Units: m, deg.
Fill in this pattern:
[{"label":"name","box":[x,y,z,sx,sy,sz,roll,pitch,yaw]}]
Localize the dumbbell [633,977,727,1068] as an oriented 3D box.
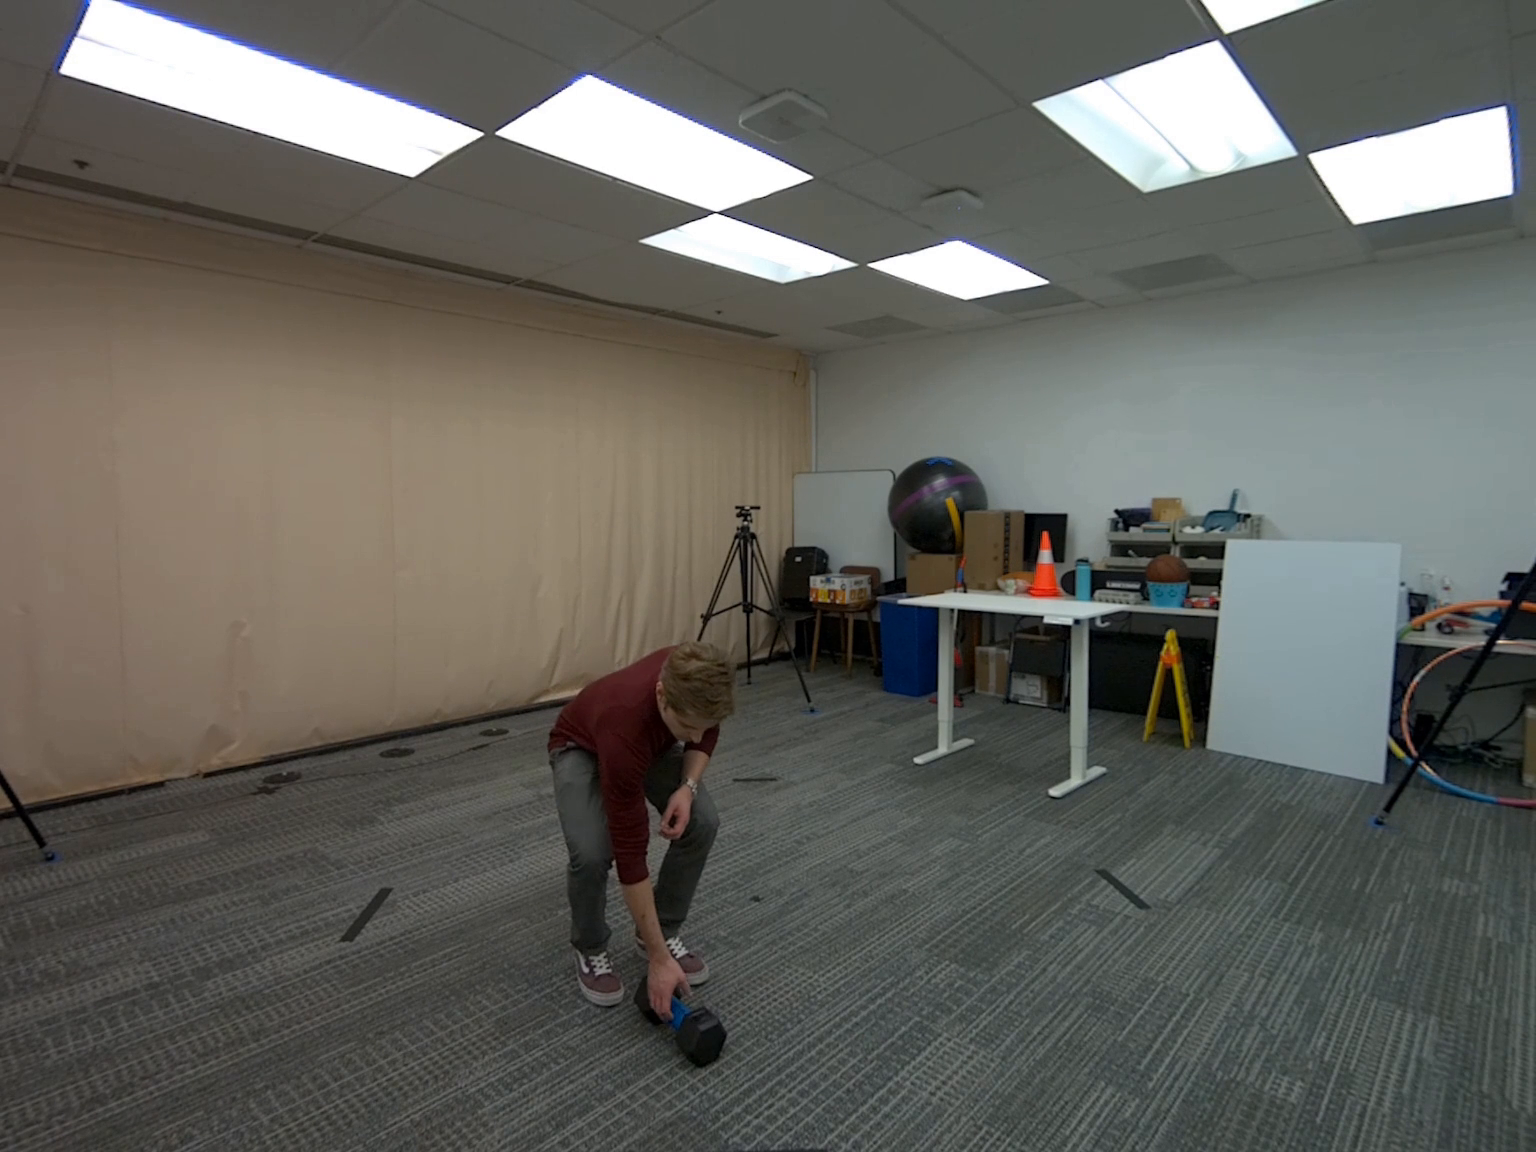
[{"label":"dumbbell","box":[-0.231,1.159,2.203,0.107,0.120,0.303,-39,25,-30]}]
